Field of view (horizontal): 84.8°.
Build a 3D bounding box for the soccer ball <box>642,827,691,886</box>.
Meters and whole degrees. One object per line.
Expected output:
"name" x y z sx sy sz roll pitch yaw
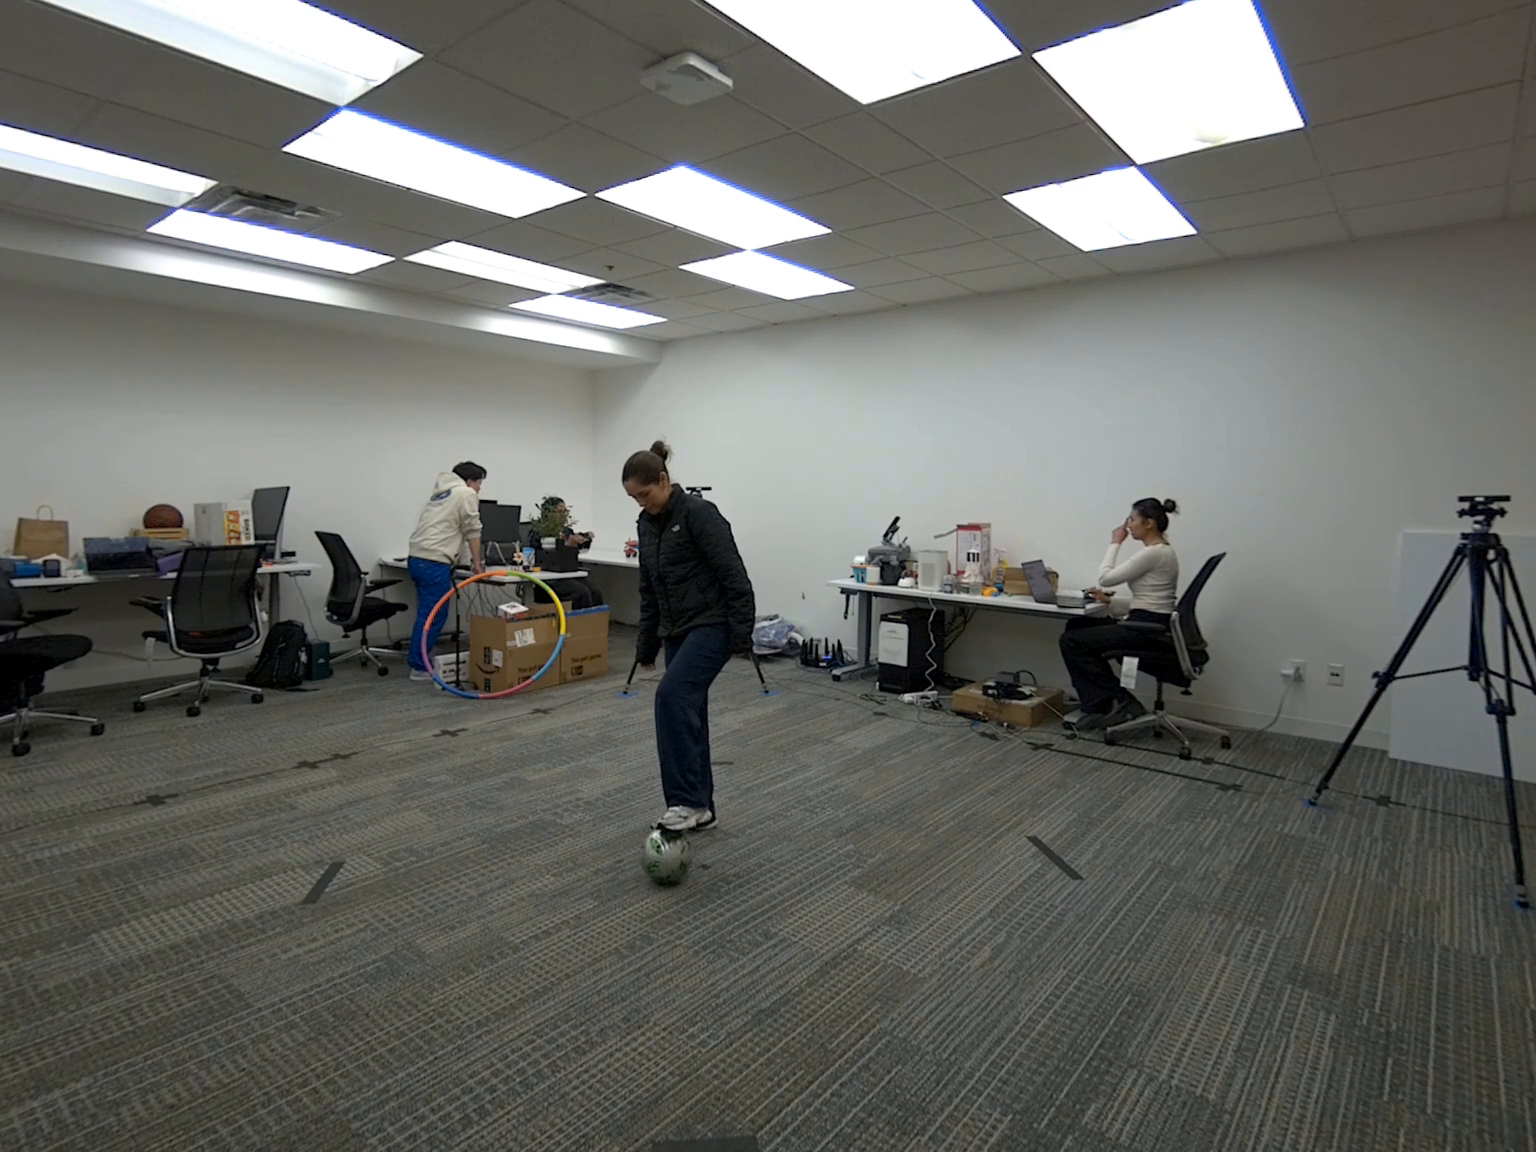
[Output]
"soccer ball" -0.368 0.978 3.006 0.187 0.187 0.188 1 4 -2
